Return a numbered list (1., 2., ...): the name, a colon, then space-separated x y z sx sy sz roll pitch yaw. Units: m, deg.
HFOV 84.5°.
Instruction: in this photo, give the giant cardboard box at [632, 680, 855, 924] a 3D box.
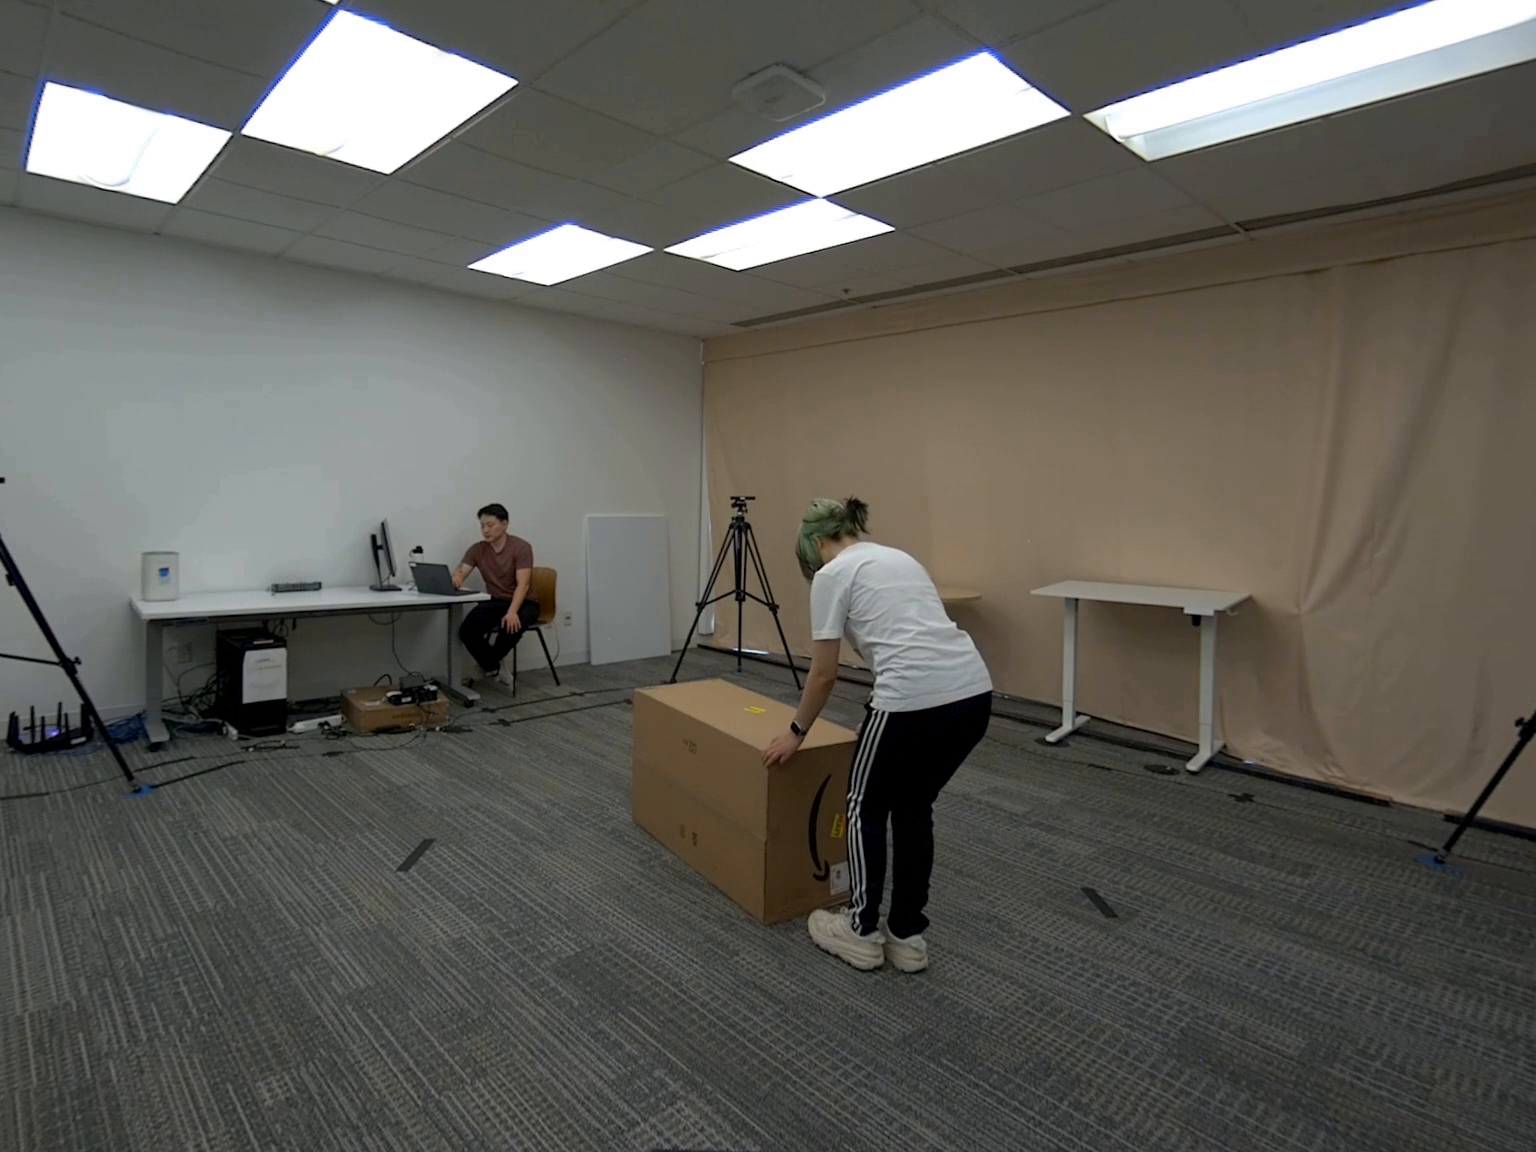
1. giant cardboard box: -0.123 0.805 3.263 0.437 0.582 1.052 0 5 -33
